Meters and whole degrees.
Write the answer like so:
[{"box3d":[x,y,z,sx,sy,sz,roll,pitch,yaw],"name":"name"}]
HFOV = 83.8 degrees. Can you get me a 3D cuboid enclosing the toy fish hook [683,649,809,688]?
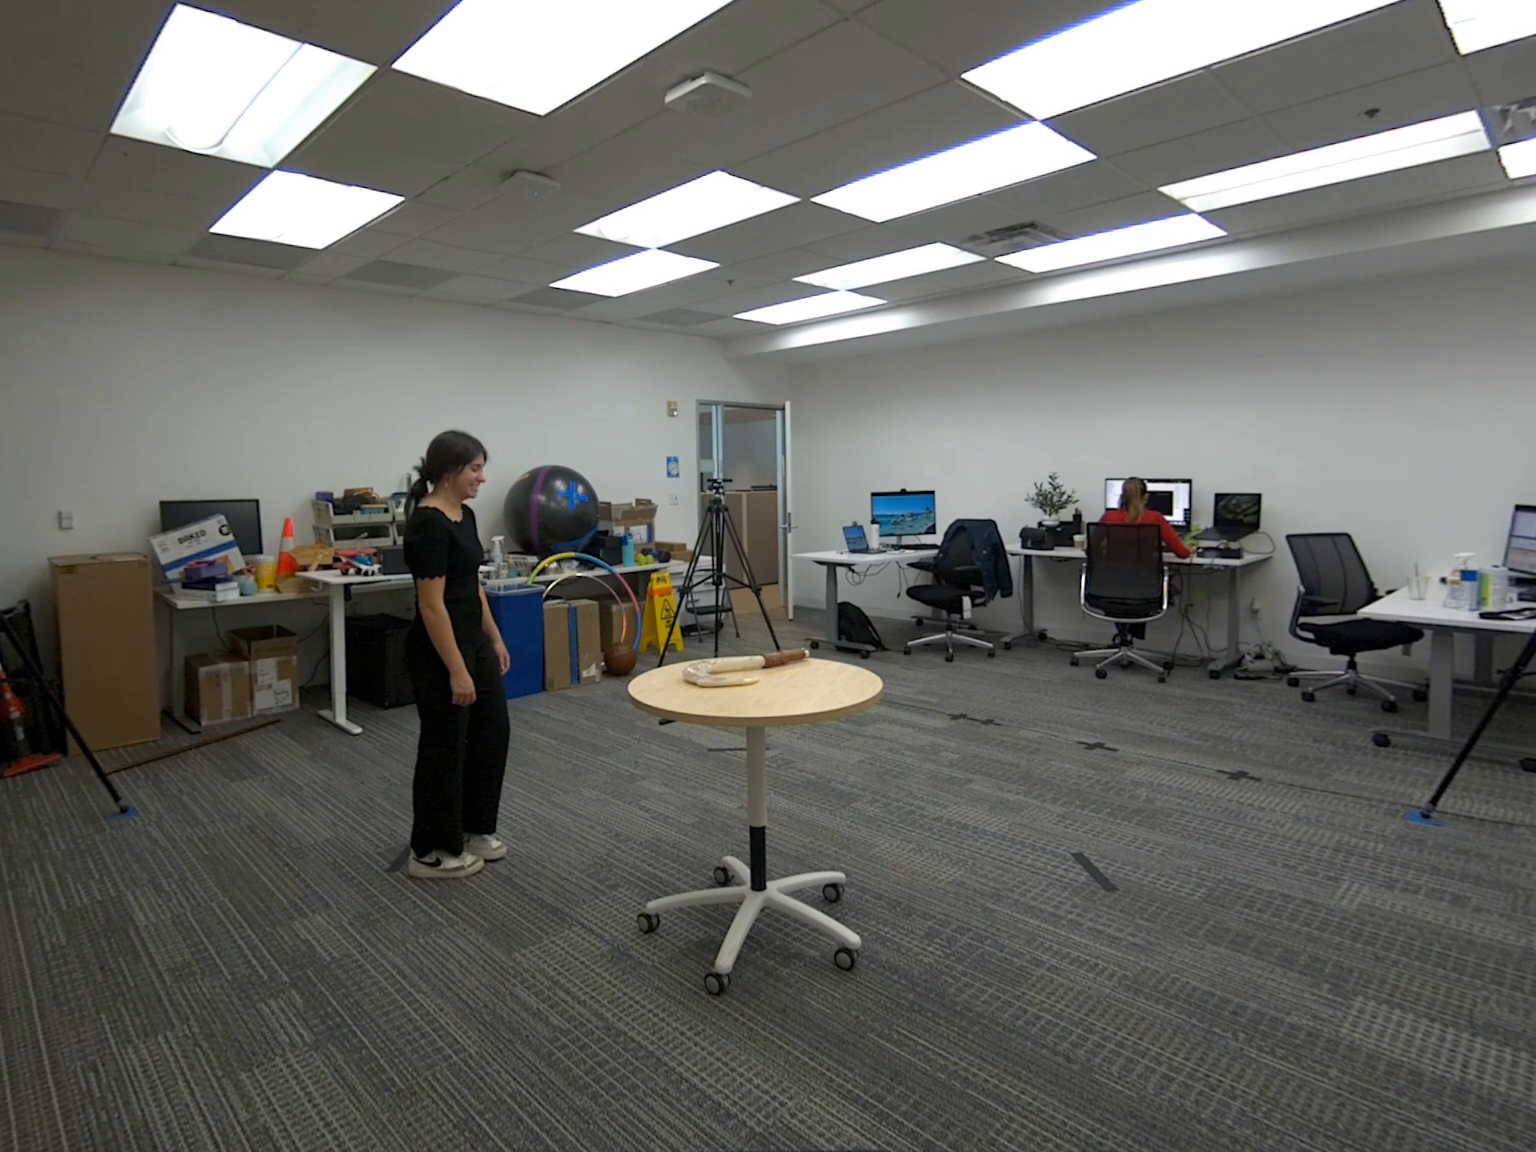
[{"box3d":[-0.042,0.299,2.717,0.494,0.048,0.232,-6,16,-35],"name":"toy fish hook"}]
